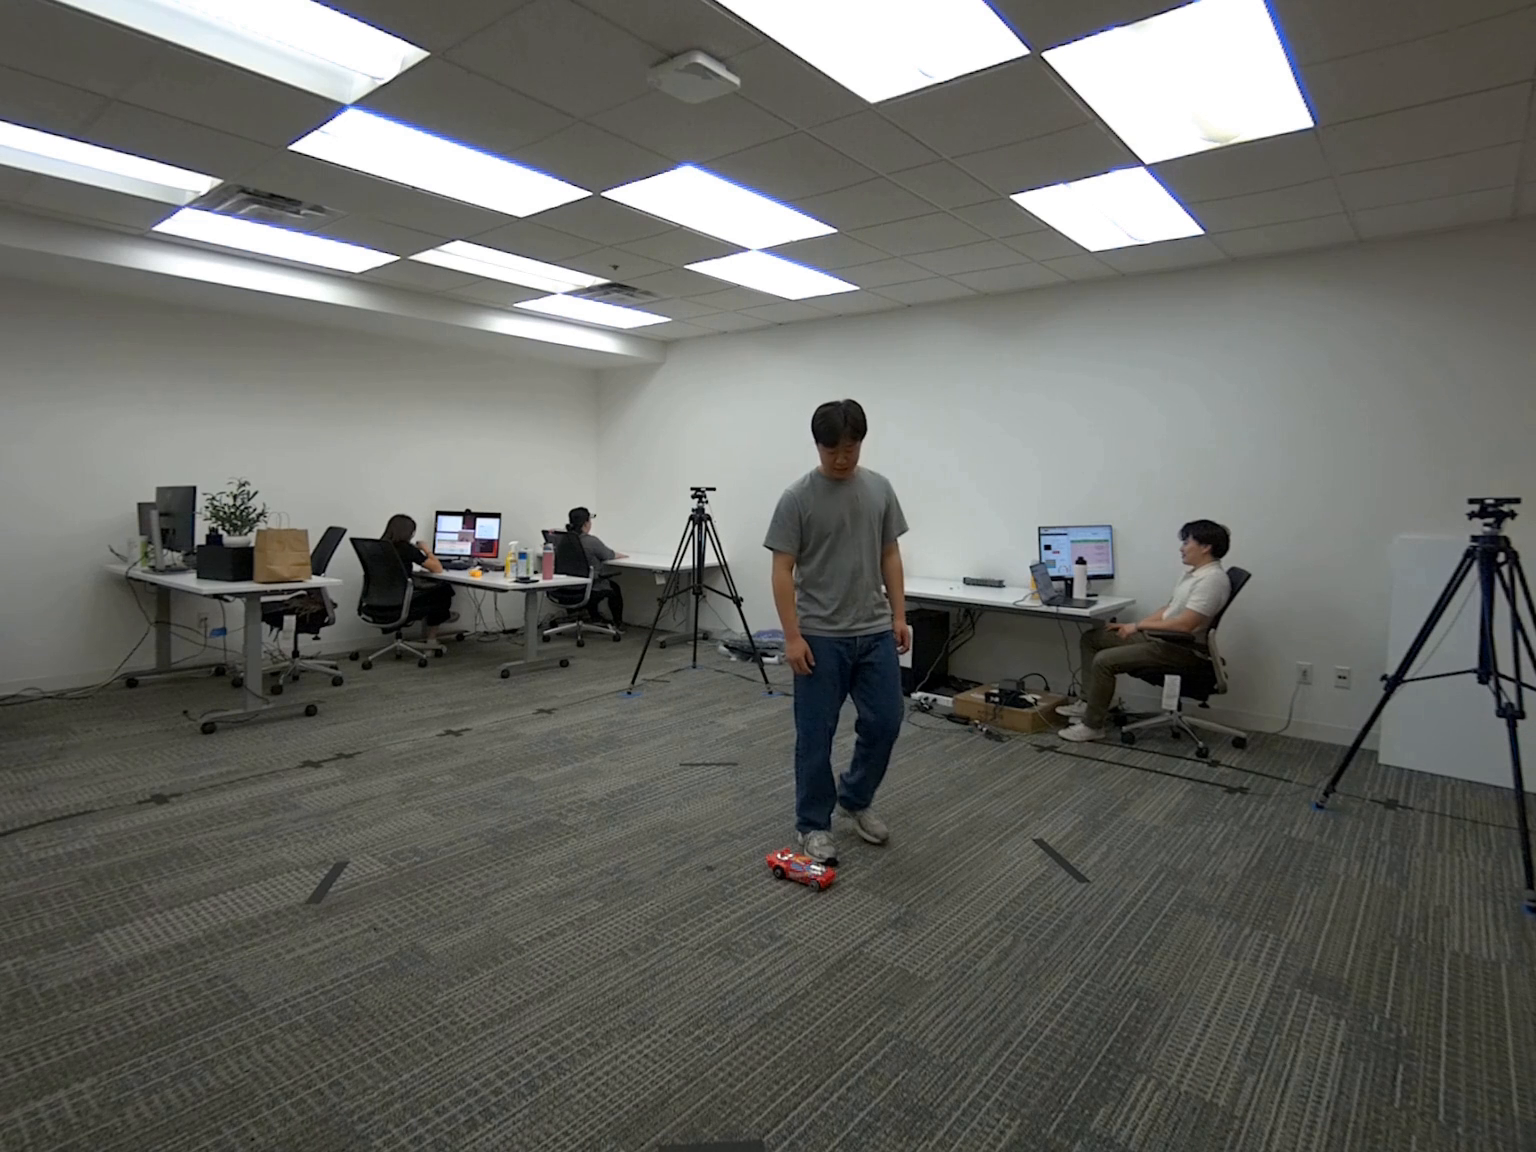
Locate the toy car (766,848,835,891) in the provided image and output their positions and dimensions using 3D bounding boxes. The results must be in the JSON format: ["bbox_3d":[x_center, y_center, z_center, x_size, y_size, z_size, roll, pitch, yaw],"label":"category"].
[{"bbox_3d":[0.104,1.046,3.048,0.264,0.082,0.126,18,13,34],"label":"toy car"}]
